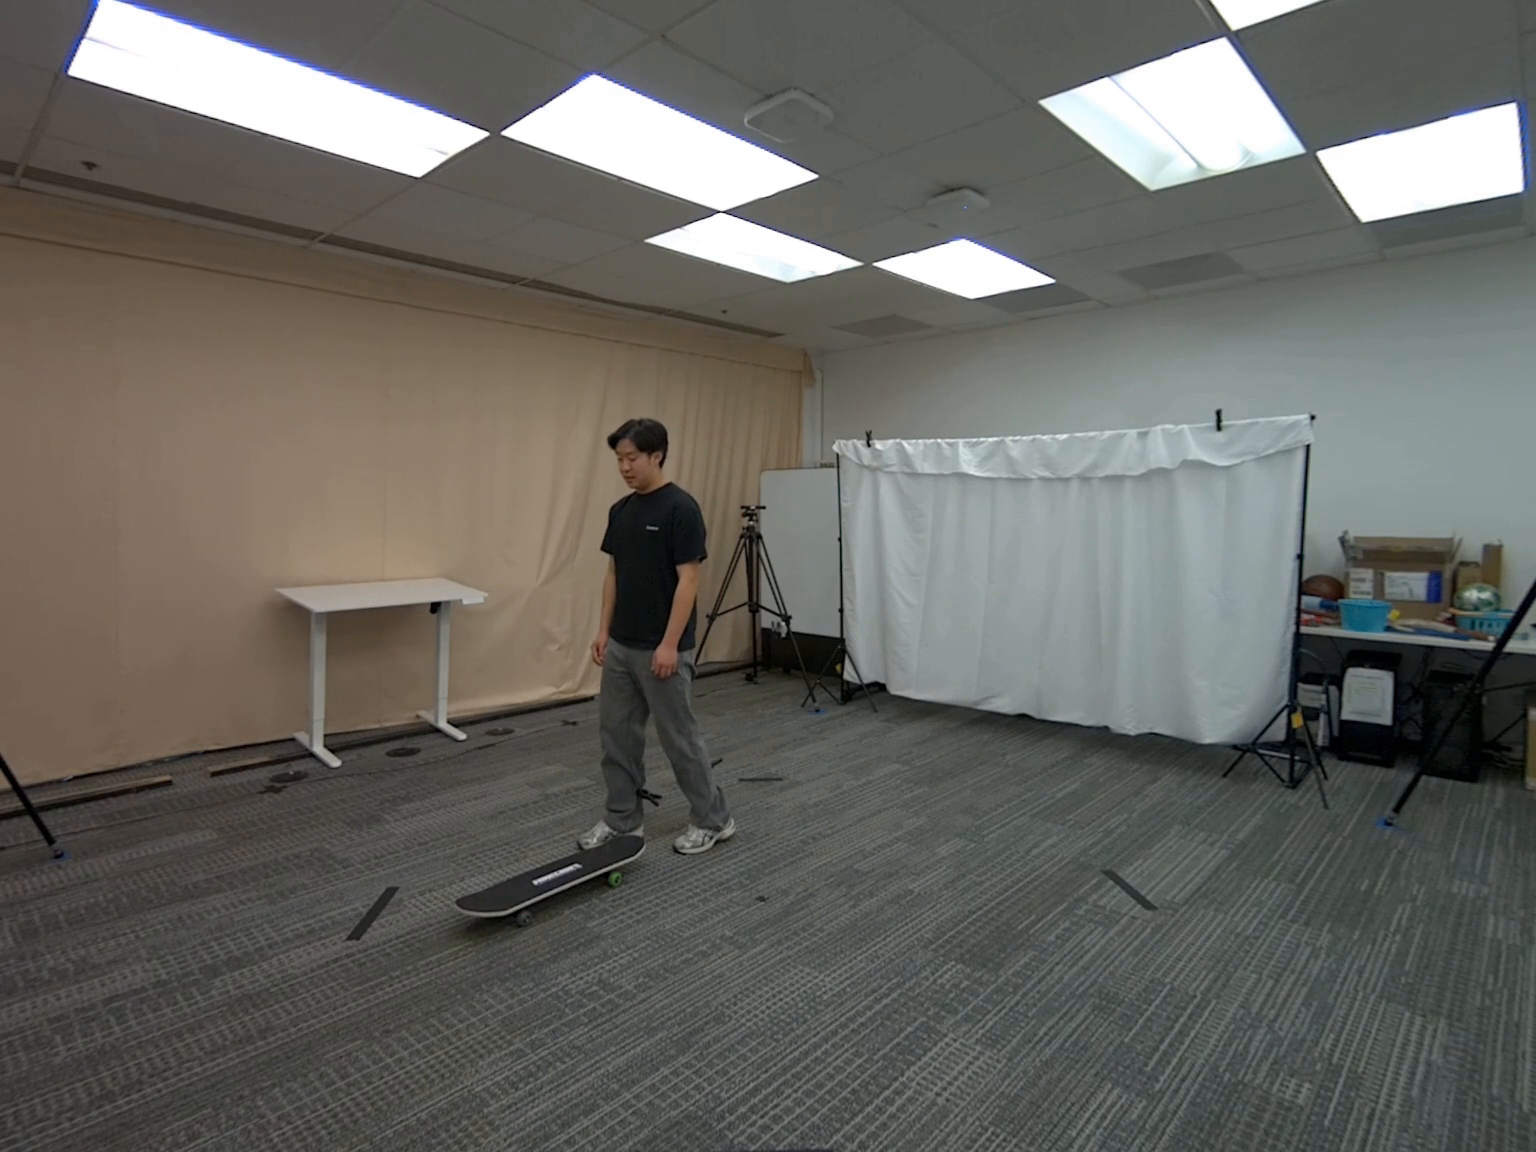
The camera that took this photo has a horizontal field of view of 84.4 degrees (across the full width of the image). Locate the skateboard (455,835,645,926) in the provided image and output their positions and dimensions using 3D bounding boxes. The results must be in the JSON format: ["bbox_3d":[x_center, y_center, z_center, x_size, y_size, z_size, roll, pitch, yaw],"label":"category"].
[{"bbox_3d":[-0.746,1.091,2.996,0.200,0.110,0.762,3,6,40],"label":"skateboard"}]
